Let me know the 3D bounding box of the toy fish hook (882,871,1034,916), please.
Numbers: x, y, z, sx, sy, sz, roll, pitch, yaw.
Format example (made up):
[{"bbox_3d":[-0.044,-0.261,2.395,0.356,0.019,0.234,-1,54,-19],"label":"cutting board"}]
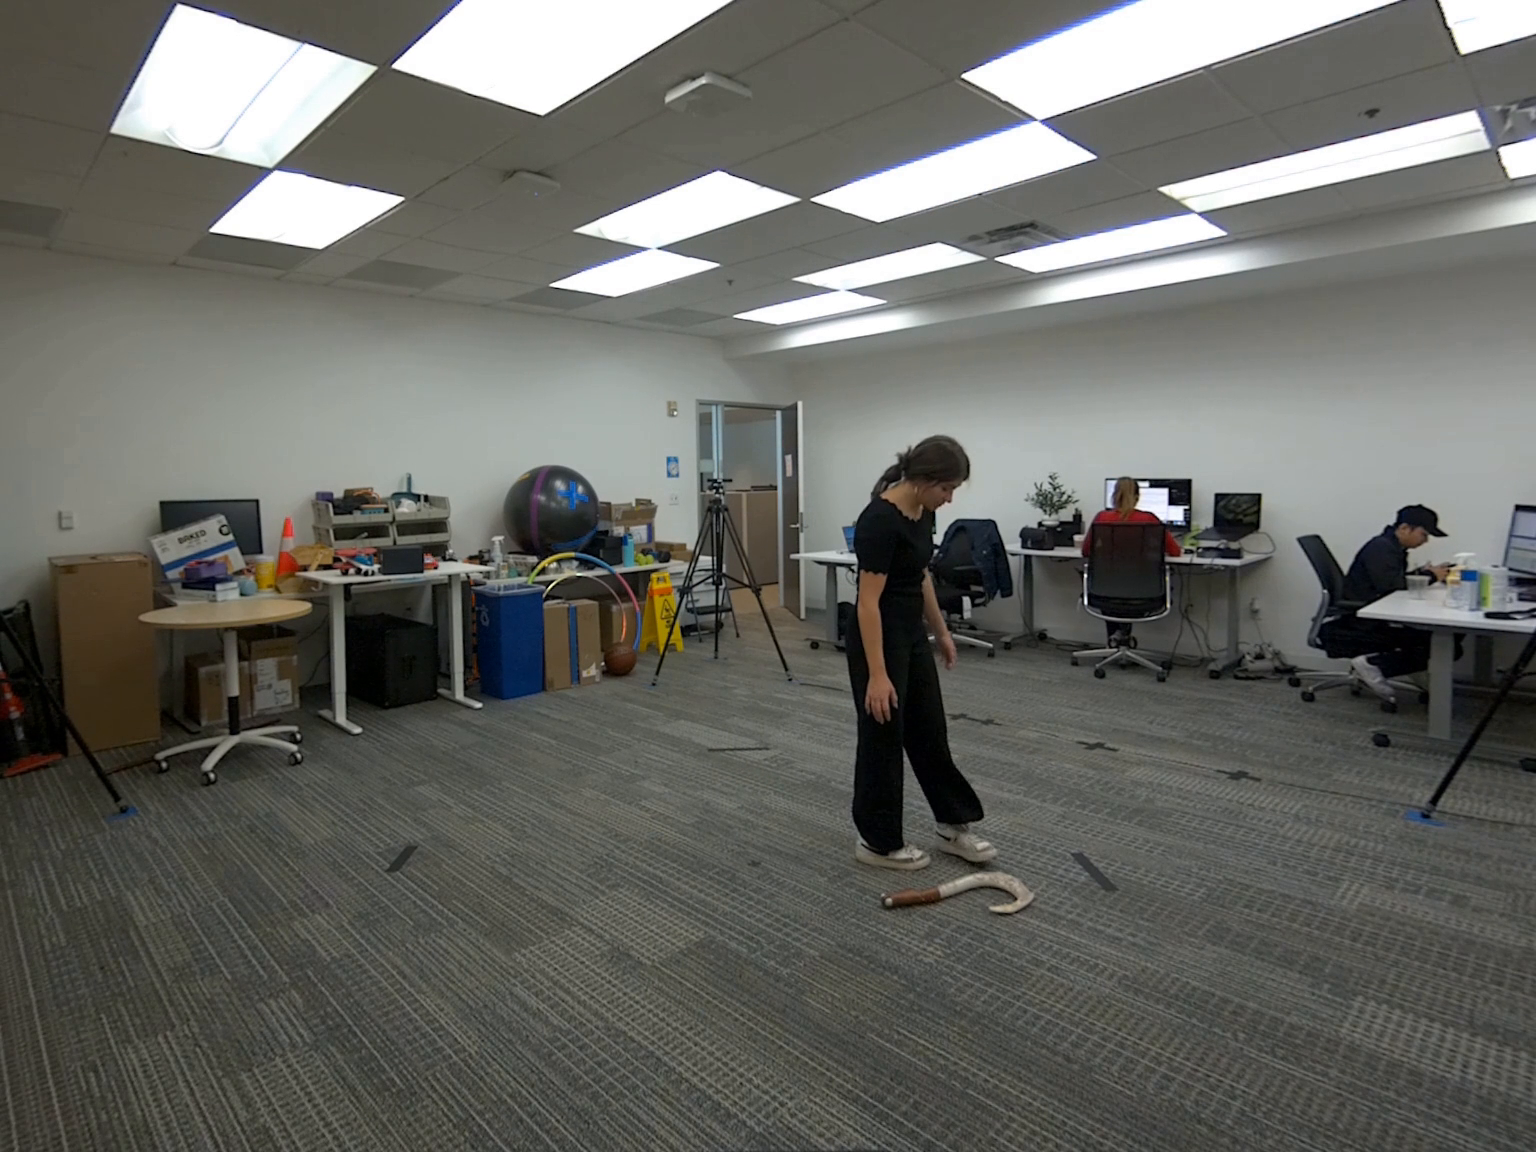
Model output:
[{"bbox_3d":[0.624,1.052,2.783,0.499,0.048,0.229,-4,5,-17],"label":"toy fish hook"}]
